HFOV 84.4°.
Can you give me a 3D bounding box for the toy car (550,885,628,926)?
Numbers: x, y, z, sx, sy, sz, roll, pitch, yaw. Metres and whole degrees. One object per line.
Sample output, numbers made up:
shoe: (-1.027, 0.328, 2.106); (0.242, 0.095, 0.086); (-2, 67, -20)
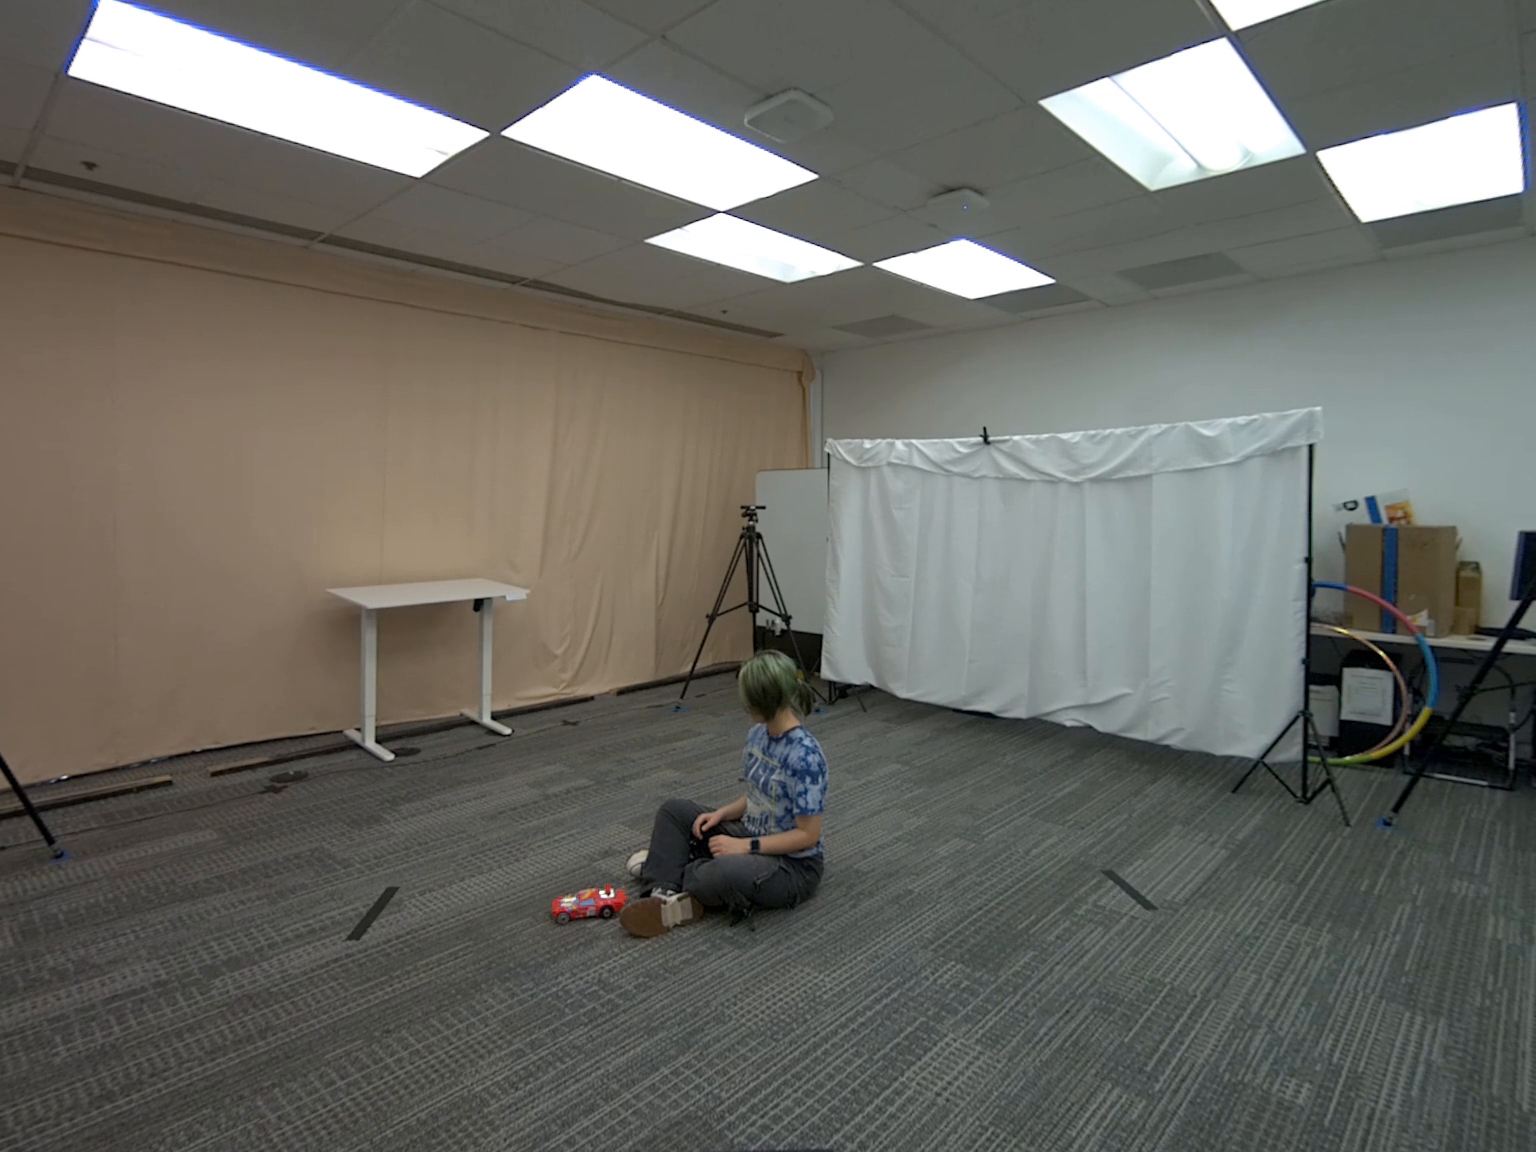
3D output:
toy car: (-0.608, 1.126, 2.886); (0.251, 0.083, 0.132); (-13, 6, -13)
